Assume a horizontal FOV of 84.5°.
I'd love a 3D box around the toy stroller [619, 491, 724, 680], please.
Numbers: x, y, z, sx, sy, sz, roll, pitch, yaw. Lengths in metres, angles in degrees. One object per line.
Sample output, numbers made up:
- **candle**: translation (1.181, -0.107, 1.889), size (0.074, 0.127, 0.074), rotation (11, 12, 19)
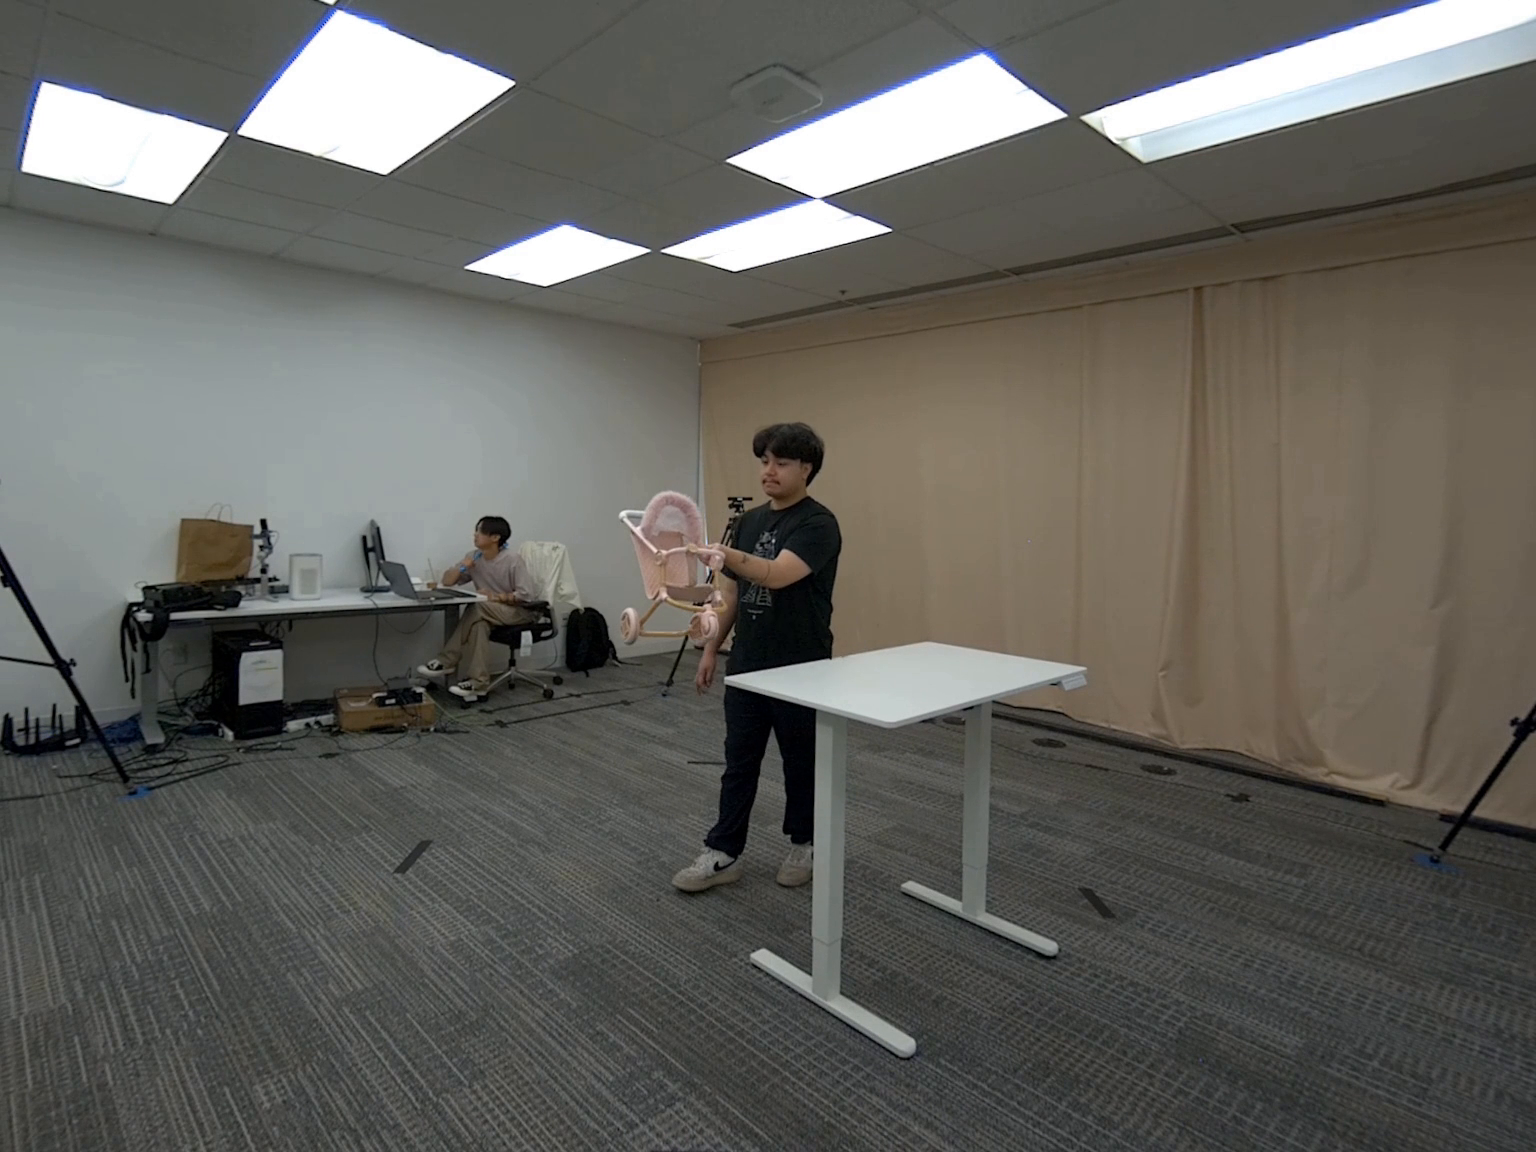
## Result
- **toy stroller**: translation (-0.283, -0.022, 2.542), size (0.275, 0.544, 0.343), rotation (4, -25, -31)
